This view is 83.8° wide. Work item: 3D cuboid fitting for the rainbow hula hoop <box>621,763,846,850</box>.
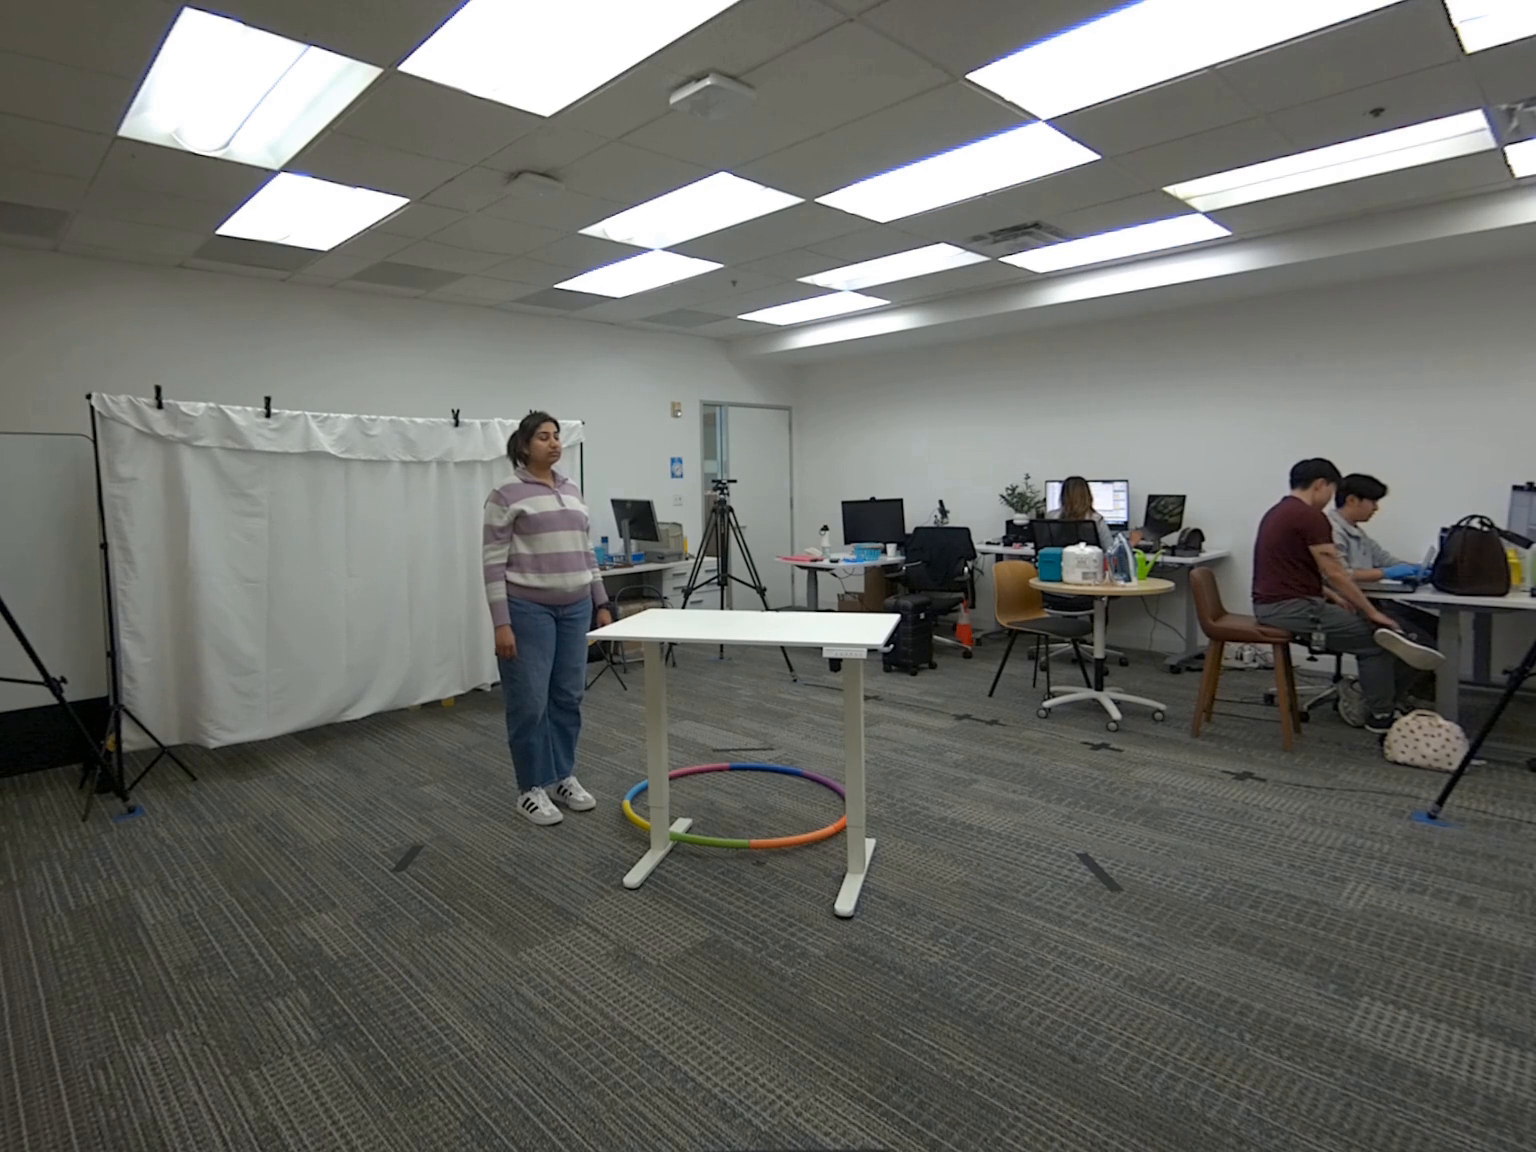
[{"bbox_3d":[-0.124,0.956,3.663,0.978,0.035,0.983,0,5,-2],"label":"rainbow hula hoop"}]
